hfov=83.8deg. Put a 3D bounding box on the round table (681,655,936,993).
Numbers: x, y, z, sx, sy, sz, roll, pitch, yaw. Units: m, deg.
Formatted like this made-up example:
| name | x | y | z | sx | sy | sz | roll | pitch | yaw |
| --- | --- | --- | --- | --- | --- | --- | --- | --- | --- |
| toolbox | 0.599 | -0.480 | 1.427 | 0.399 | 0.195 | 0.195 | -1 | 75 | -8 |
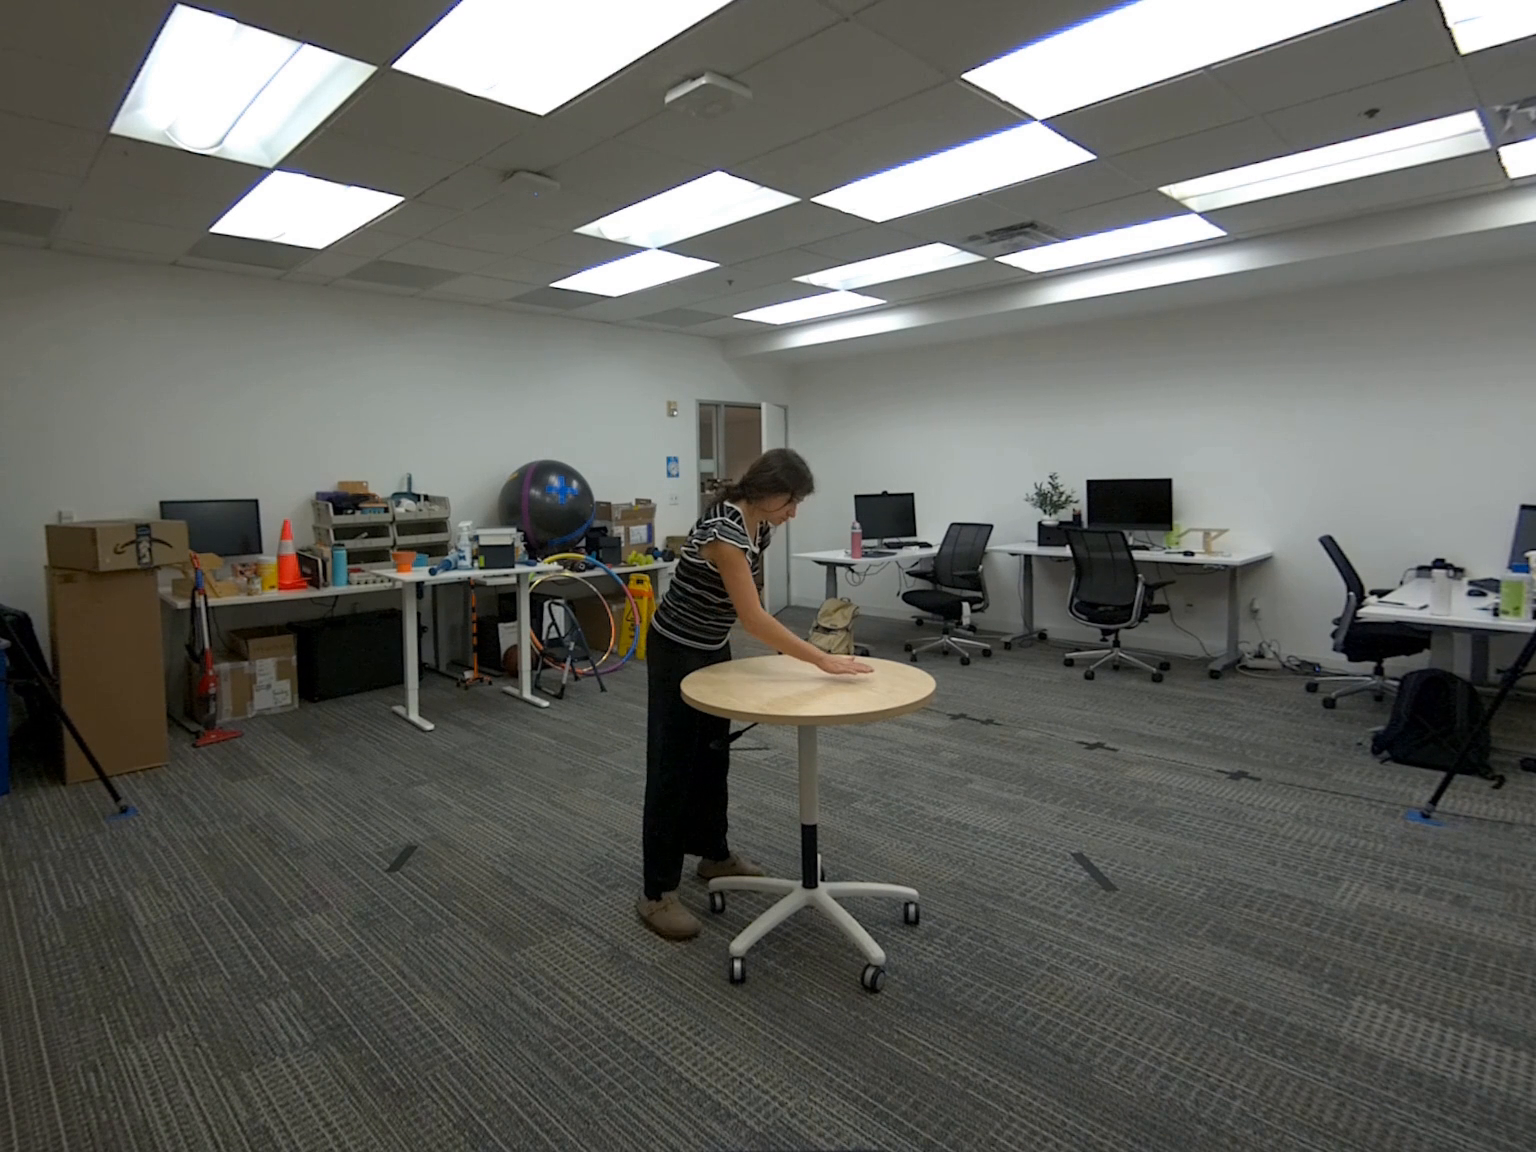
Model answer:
| name | x | y | z | sx | sy | sz | roll | pitch | yaw |
| --- | --- | --- | --- | --- | --- | --- | --- | --- | --- |
| round table | 0.138 | 0.712 | 2.612 | 0.763 | 0.791 | 0.768 | -2 | 5 | -2 |
